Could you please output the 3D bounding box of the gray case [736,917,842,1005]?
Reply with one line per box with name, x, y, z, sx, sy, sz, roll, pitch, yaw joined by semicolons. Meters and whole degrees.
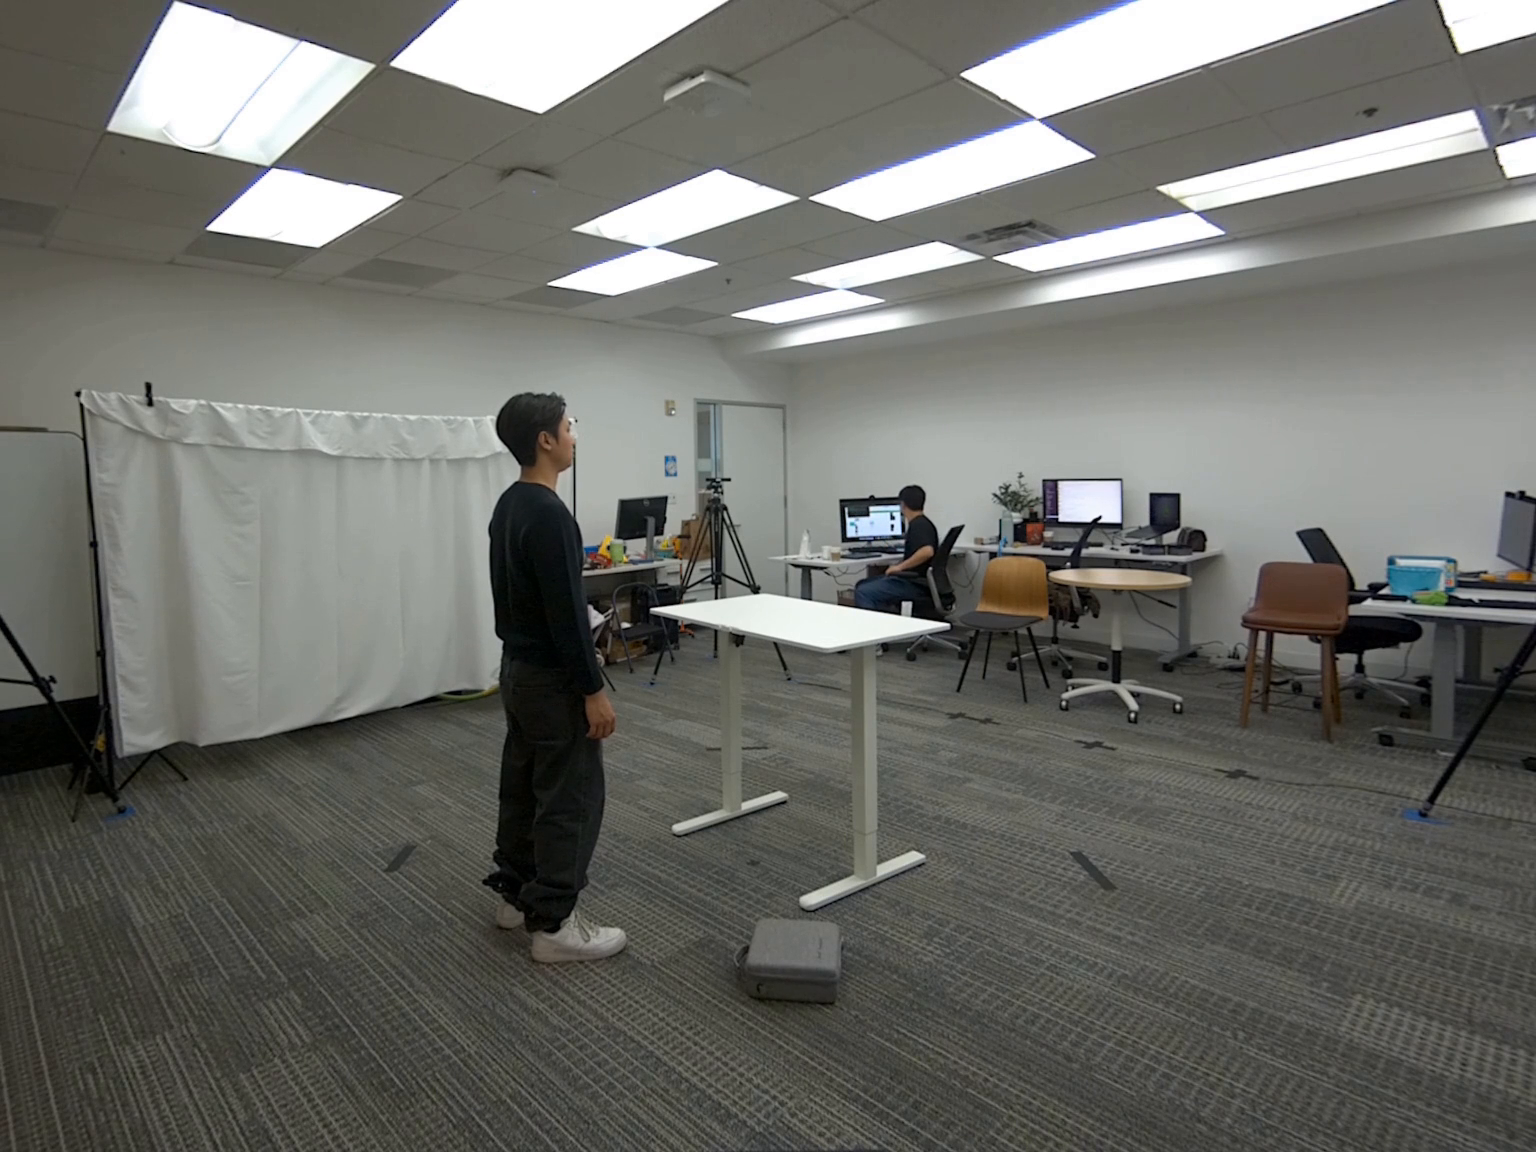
gray case;0.073;1.060;2.392;0.263;0.104;0.256;0;7;9
